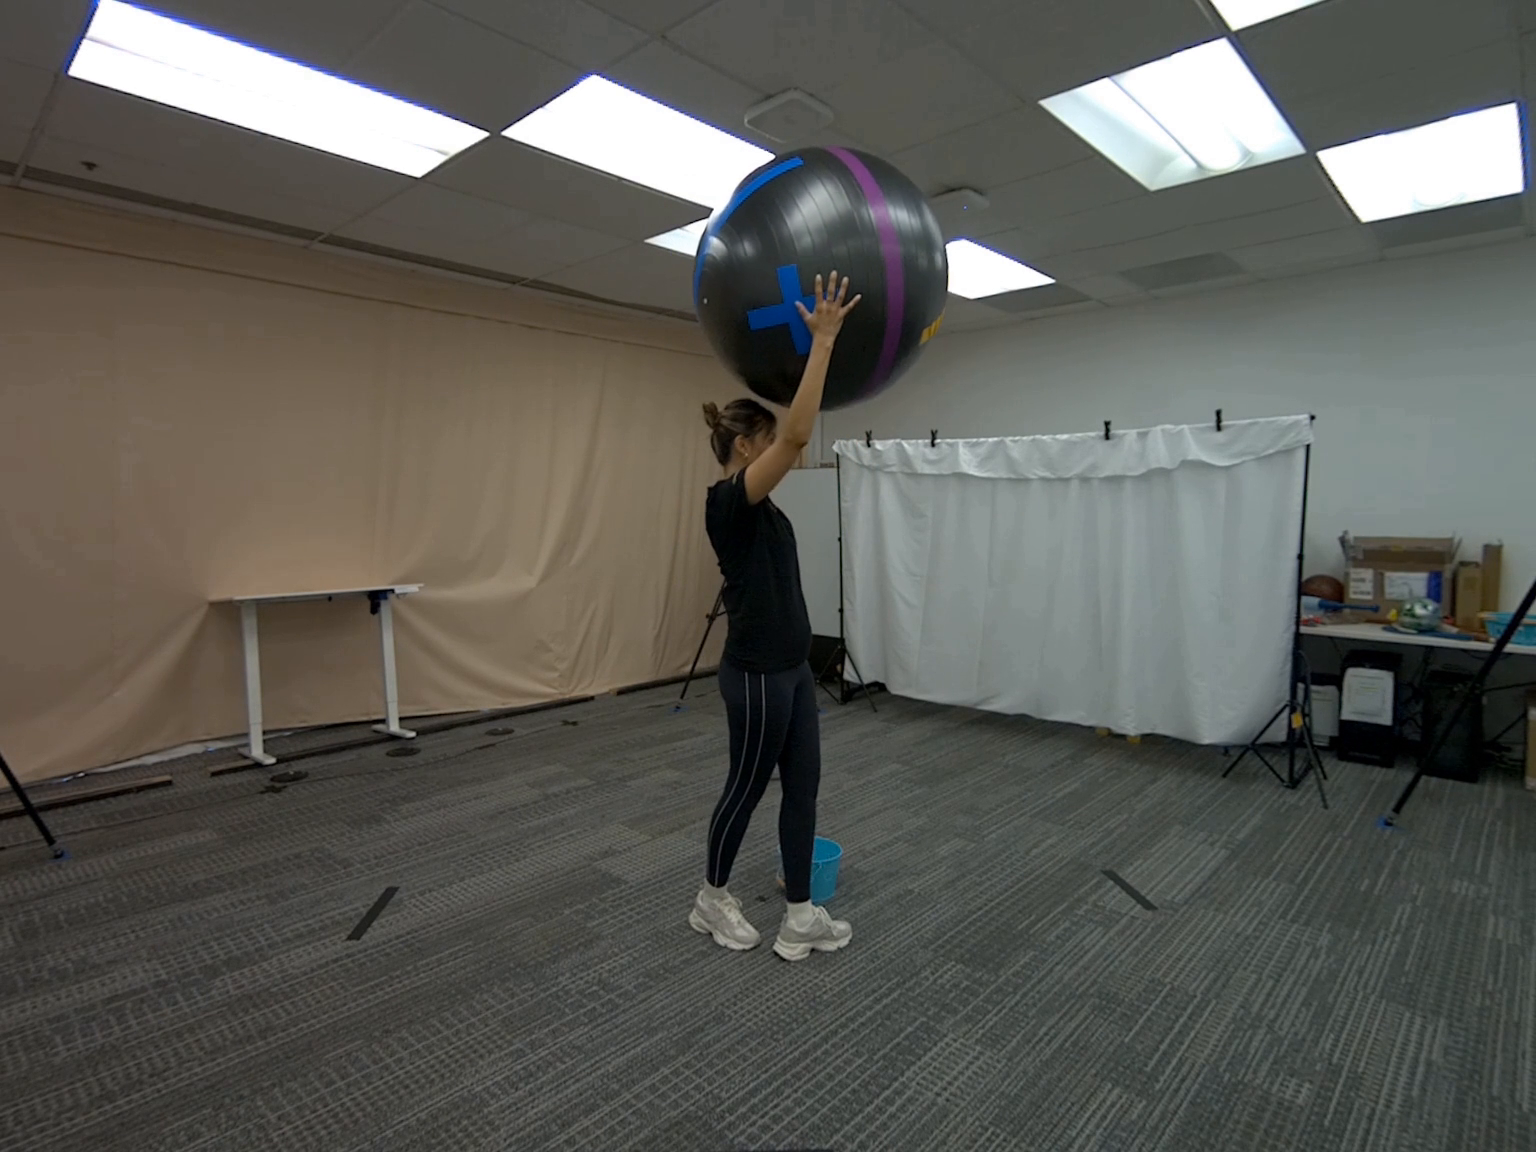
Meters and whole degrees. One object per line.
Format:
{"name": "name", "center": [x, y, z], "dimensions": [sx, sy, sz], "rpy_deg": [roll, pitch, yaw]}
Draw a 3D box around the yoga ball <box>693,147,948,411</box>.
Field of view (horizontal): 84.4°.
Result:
{"name": "yoga ball", "center": [0.159, -0.868, 2.529], "dimensions": [0.757, 0.756, 0.760], "rpy_deg": [0, 4, -2]}
